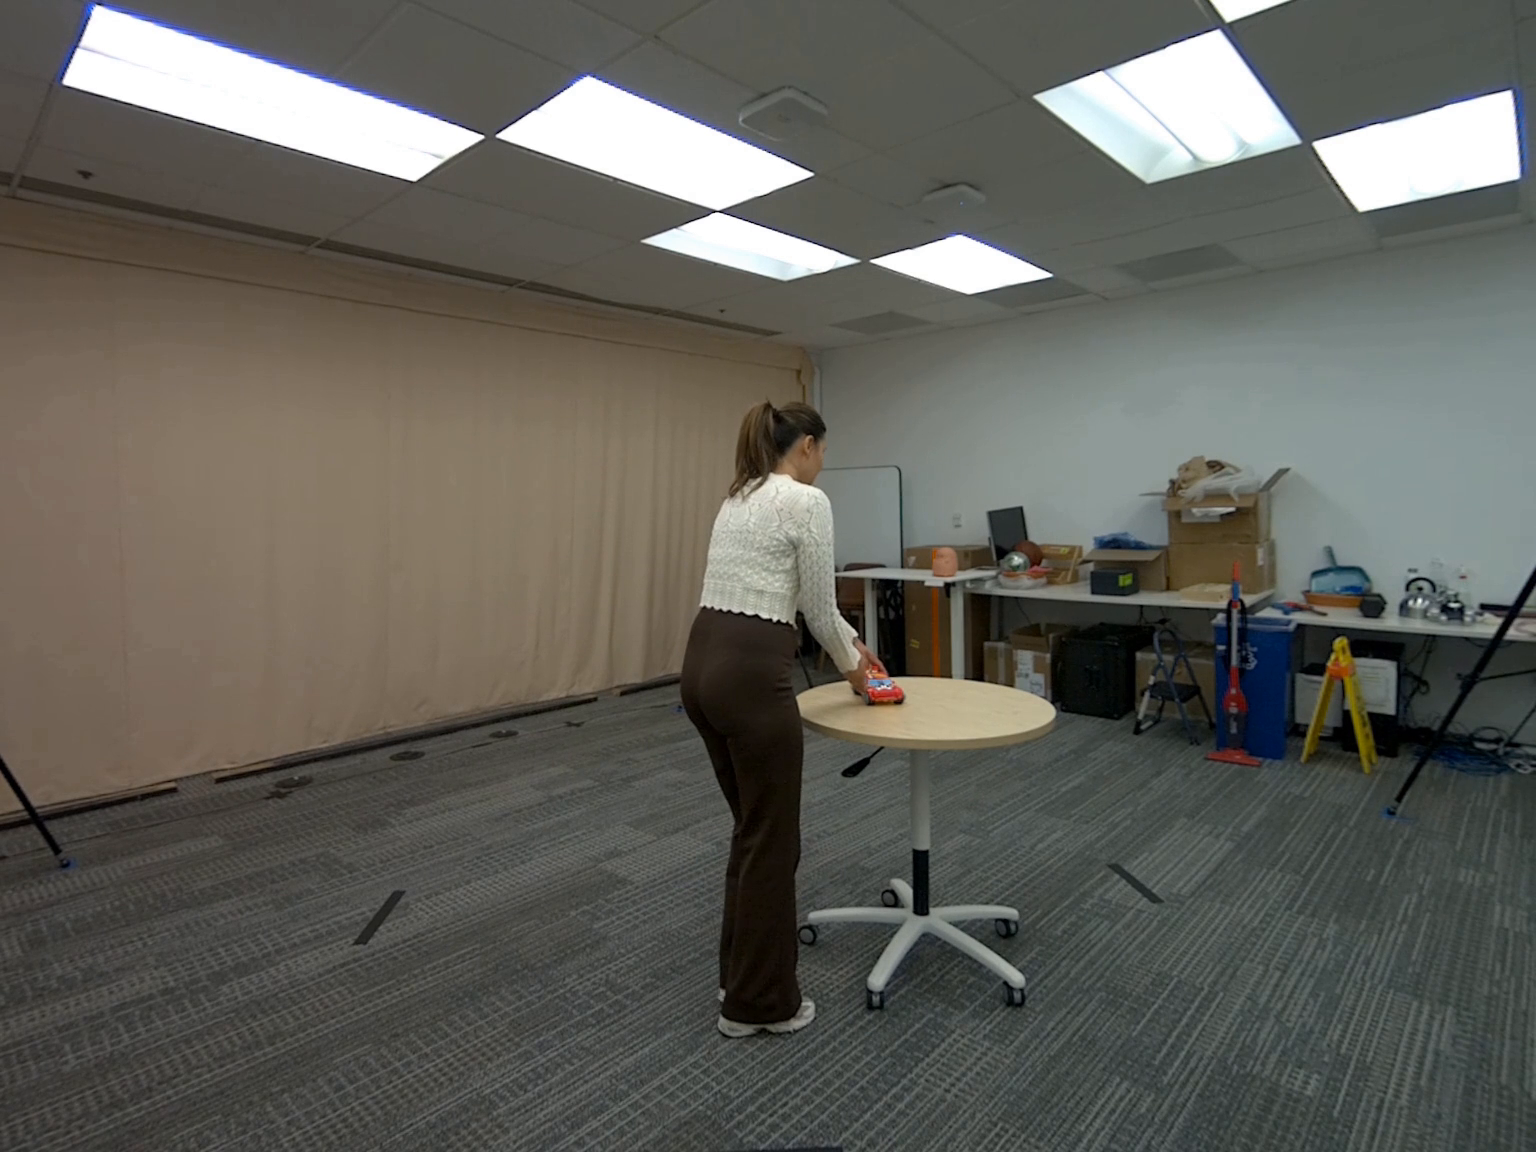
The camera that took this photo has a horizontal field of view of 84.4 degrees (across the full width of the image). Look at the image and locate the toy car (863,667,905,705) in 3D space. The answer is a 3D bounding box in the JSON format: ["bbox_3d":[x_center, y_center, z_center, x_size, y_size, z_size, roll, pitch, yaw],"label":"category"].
[{"bbox_3d":[0.344,0.349,2.626,0.130,0.082,0.258,-3,14,-5],"label":"toy car"}]
